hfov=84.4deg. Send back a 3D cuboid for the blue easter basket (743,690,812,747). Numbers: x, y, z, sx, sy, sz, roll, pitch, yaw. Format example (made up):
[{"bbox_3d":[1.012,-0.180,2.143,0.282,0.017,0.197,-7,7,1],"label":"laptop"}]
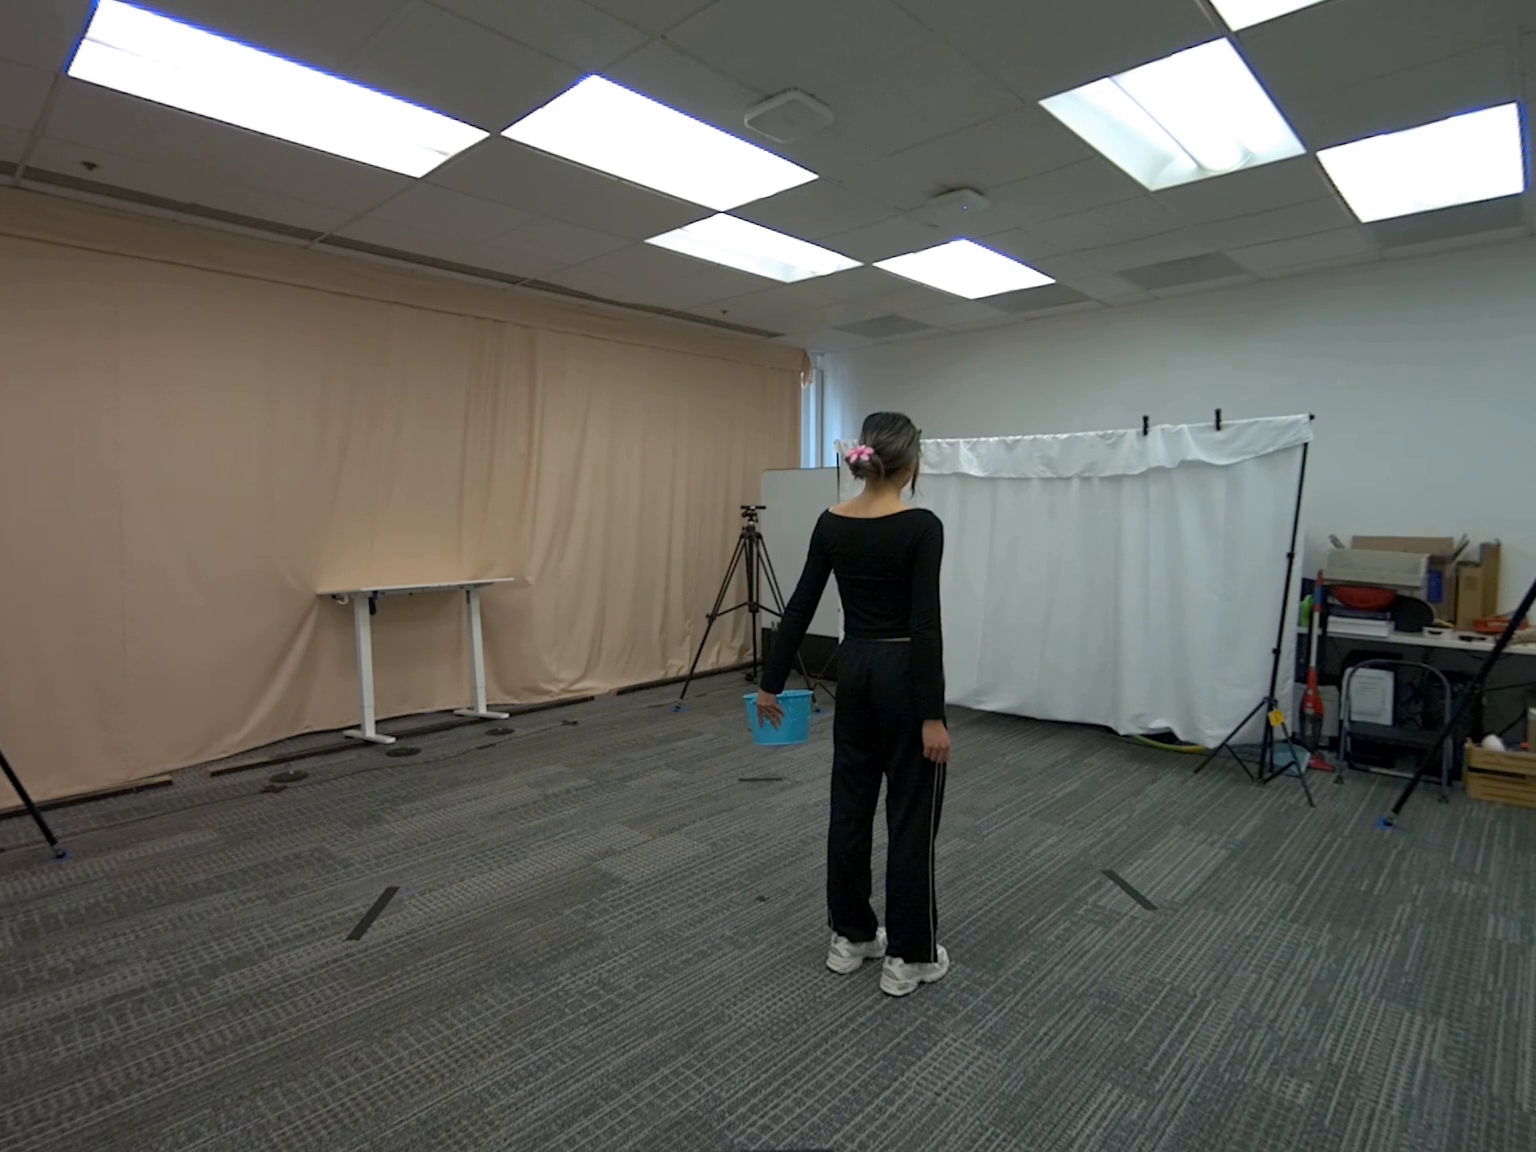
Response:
[{"bbox_3d":[0.035,0.465,2.763,0.243,0.156,0.243,-2,-5,-2],"label":"blue easter basket"}]
